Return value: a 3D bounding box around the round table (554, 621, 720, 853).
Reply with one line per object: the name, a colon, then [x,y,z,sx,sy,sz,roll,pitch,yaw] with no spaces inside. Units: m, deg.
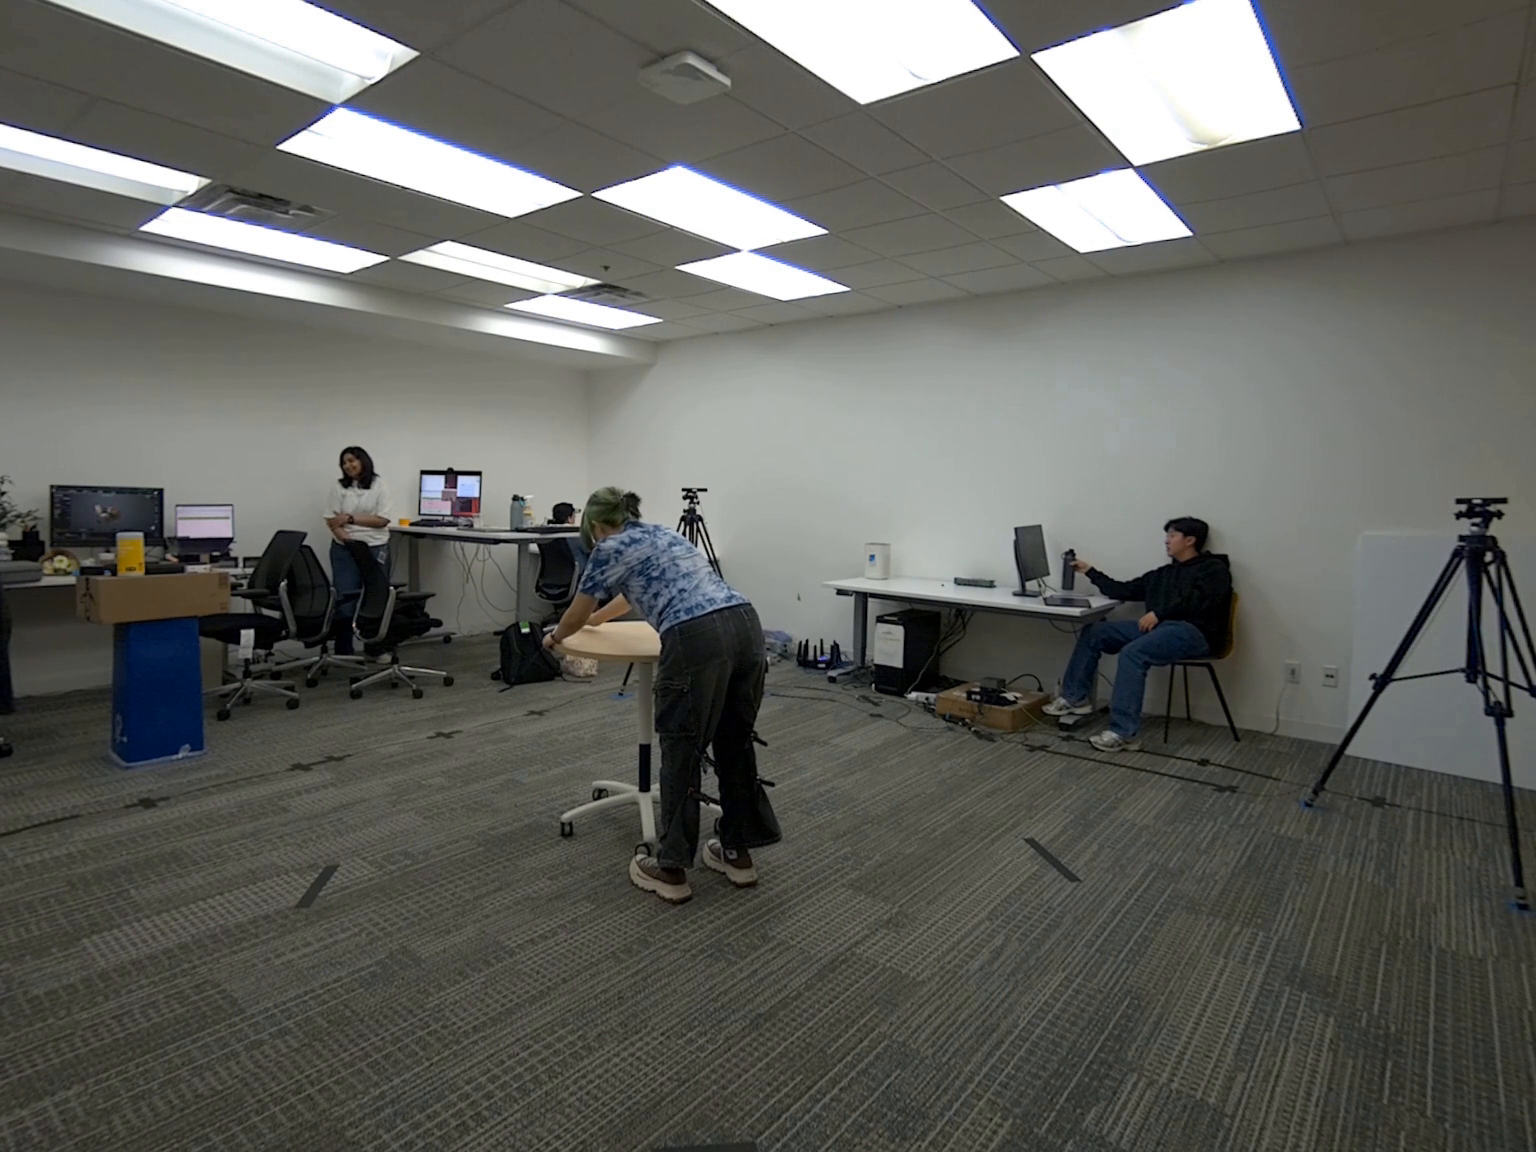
round table: [-0.522,0.640,3.505,0.763,0.791,0.768,1,4,-2]
